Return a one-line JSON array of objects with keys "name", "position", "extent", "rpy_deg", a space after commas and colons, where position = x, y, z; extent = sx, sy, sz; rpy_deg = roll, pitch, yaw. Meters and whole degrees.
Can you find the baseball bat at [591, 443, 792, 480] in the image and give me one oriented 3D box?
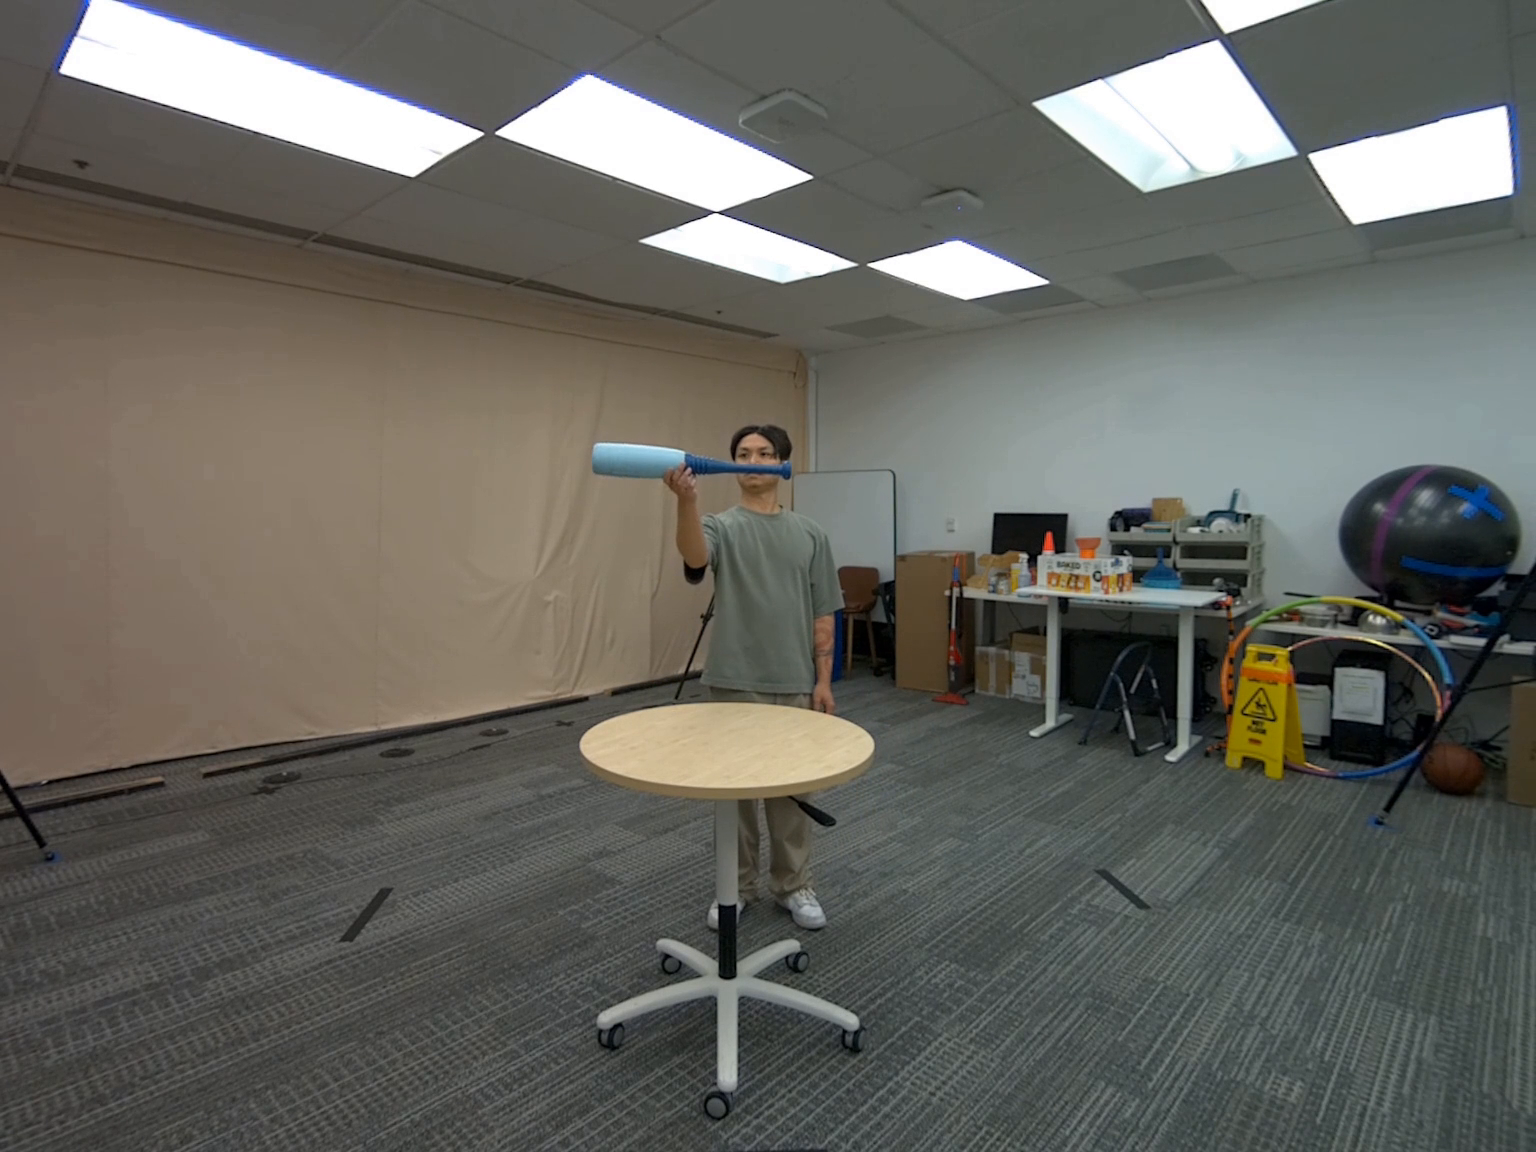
[{"name": "baseball bat", "position": [-0.203, -0.299, 2.284], "extent": [0.543, 0.089, 0.089], "rpy_deg": [5, 4, -1]}]
